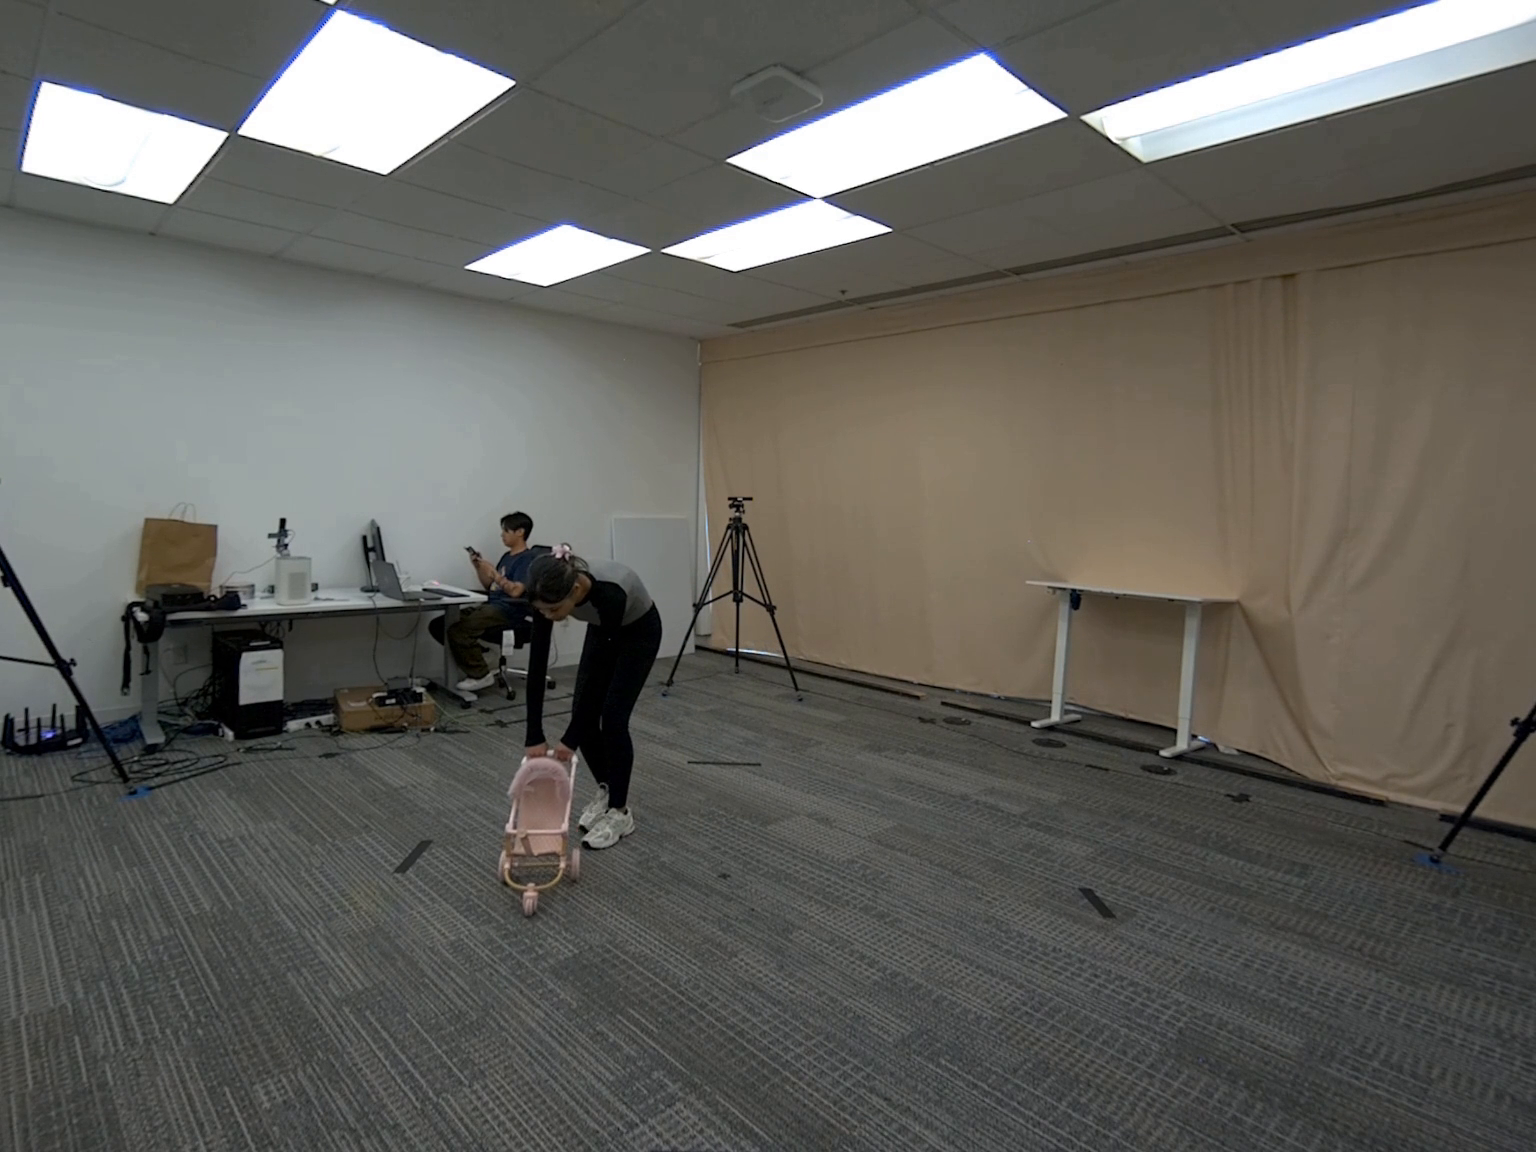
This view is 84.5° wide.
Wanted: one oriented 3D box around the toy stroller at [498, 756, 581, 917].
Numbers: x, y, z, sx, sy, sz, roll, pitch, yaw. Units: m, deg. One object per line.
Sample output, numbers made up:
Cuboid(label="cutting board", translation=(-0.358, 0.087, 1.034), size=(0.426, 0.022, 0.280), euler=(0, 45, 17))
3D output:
Cuboid(label="toy stroller", translation=(-0.819, 0.884, 2.957), size=(0.281, 0.540, 0.339), euler=(1, -12, -3))
